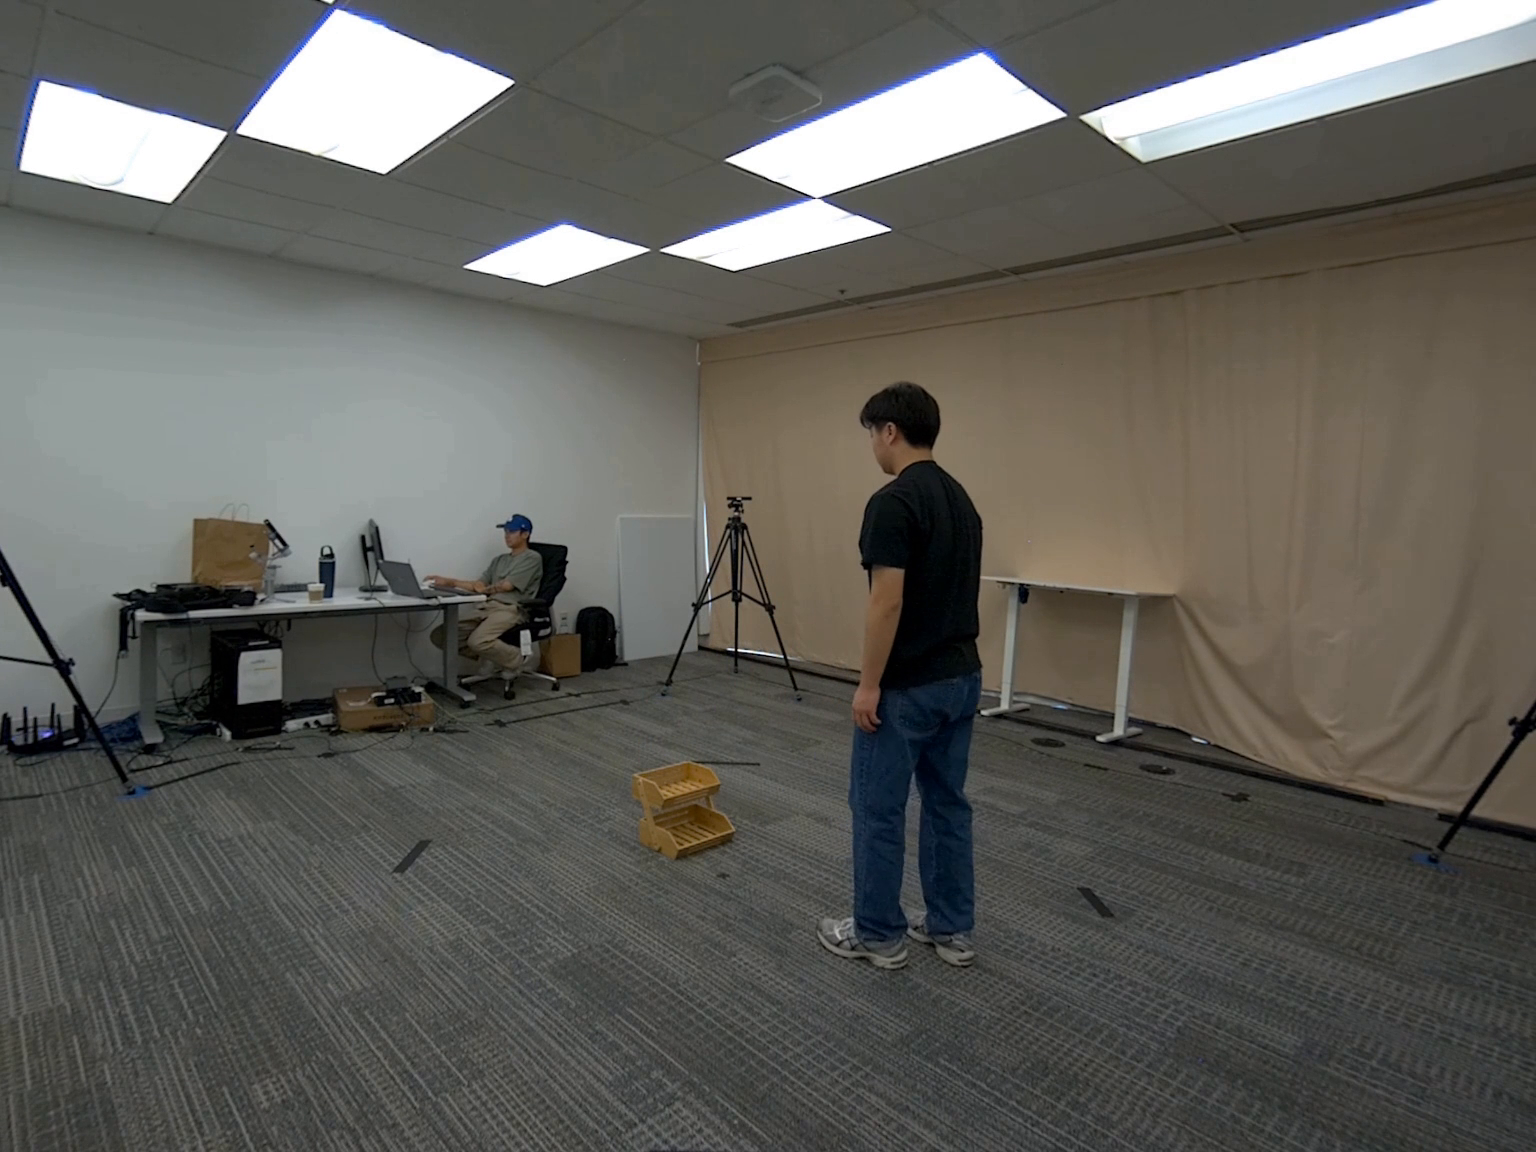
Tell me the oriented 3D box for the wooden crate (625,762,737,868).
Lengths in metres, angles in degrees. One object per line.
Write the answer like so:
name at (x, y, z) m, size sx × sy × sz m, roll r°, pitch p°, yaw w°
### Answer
wooden crate at (-0.352, 0.952, 3.421) m, size 0.317 × 0.273 × 0.310 m, roll -2°, pitch 4°, yaw -44°
